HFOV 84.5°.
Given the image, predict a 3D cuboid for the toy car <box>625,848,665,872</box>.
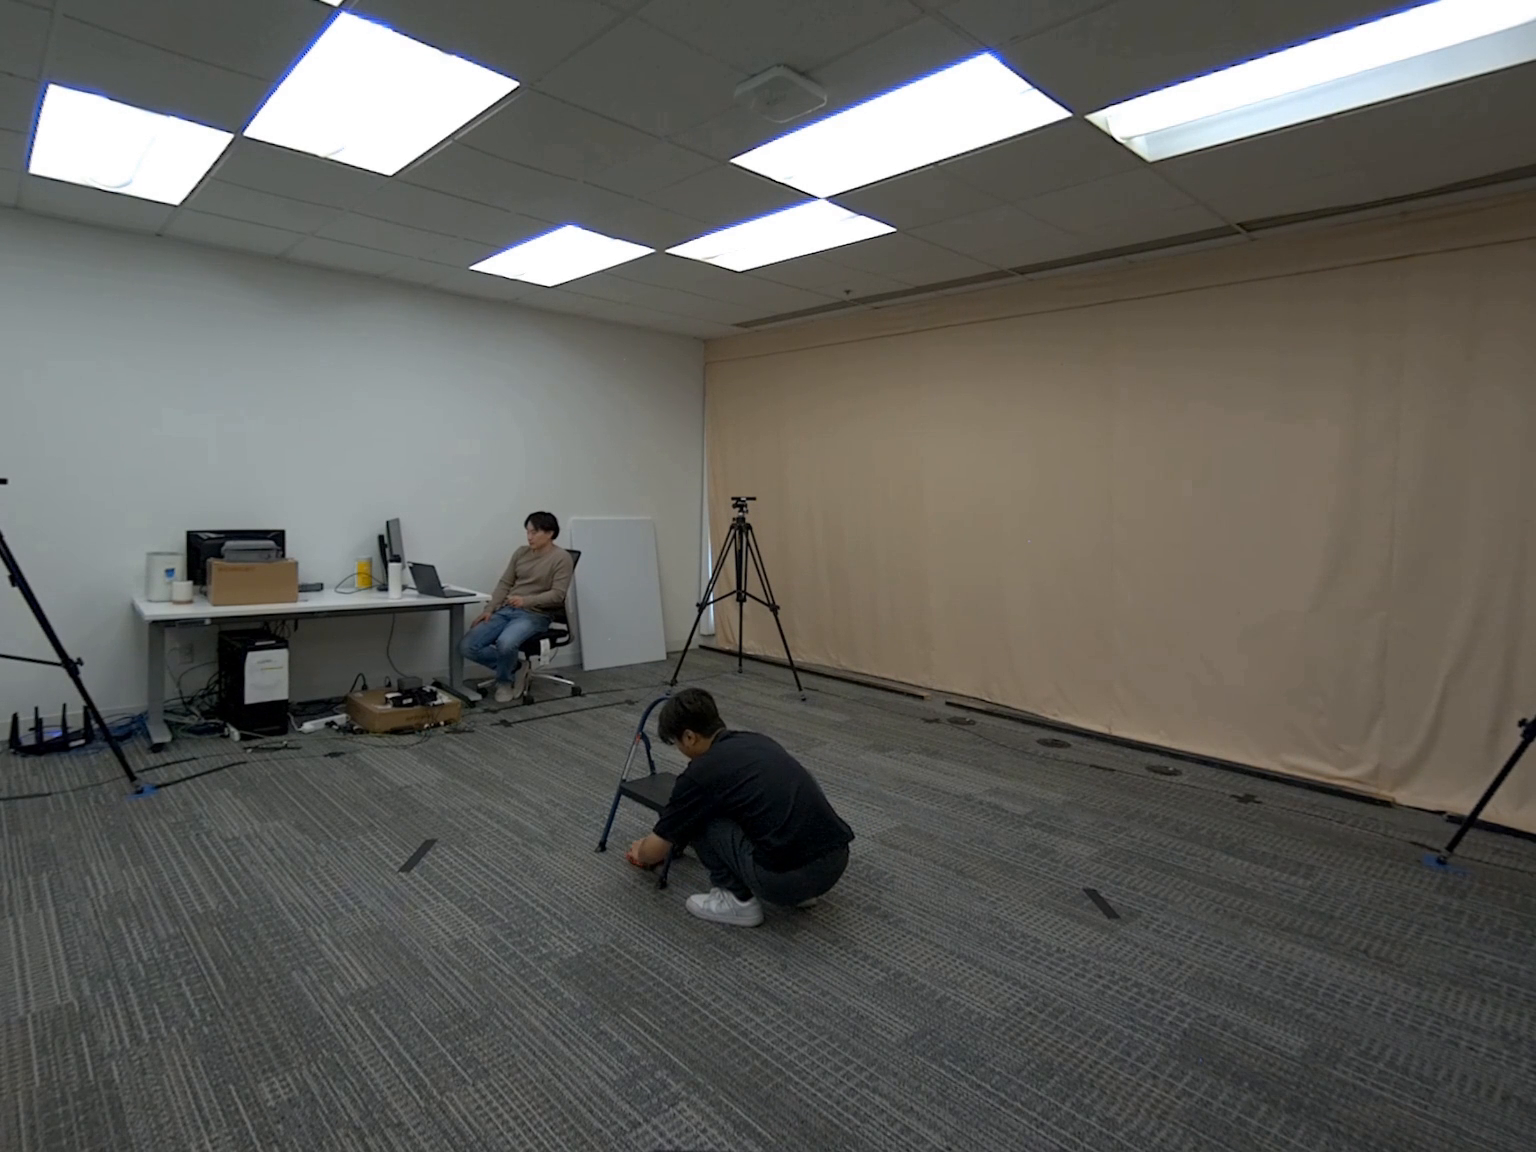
[{"bbox_3d":[-0.416,1.059,3.236,0.133,0.082,0.250,5,17,42],"label":"toy car"}]
